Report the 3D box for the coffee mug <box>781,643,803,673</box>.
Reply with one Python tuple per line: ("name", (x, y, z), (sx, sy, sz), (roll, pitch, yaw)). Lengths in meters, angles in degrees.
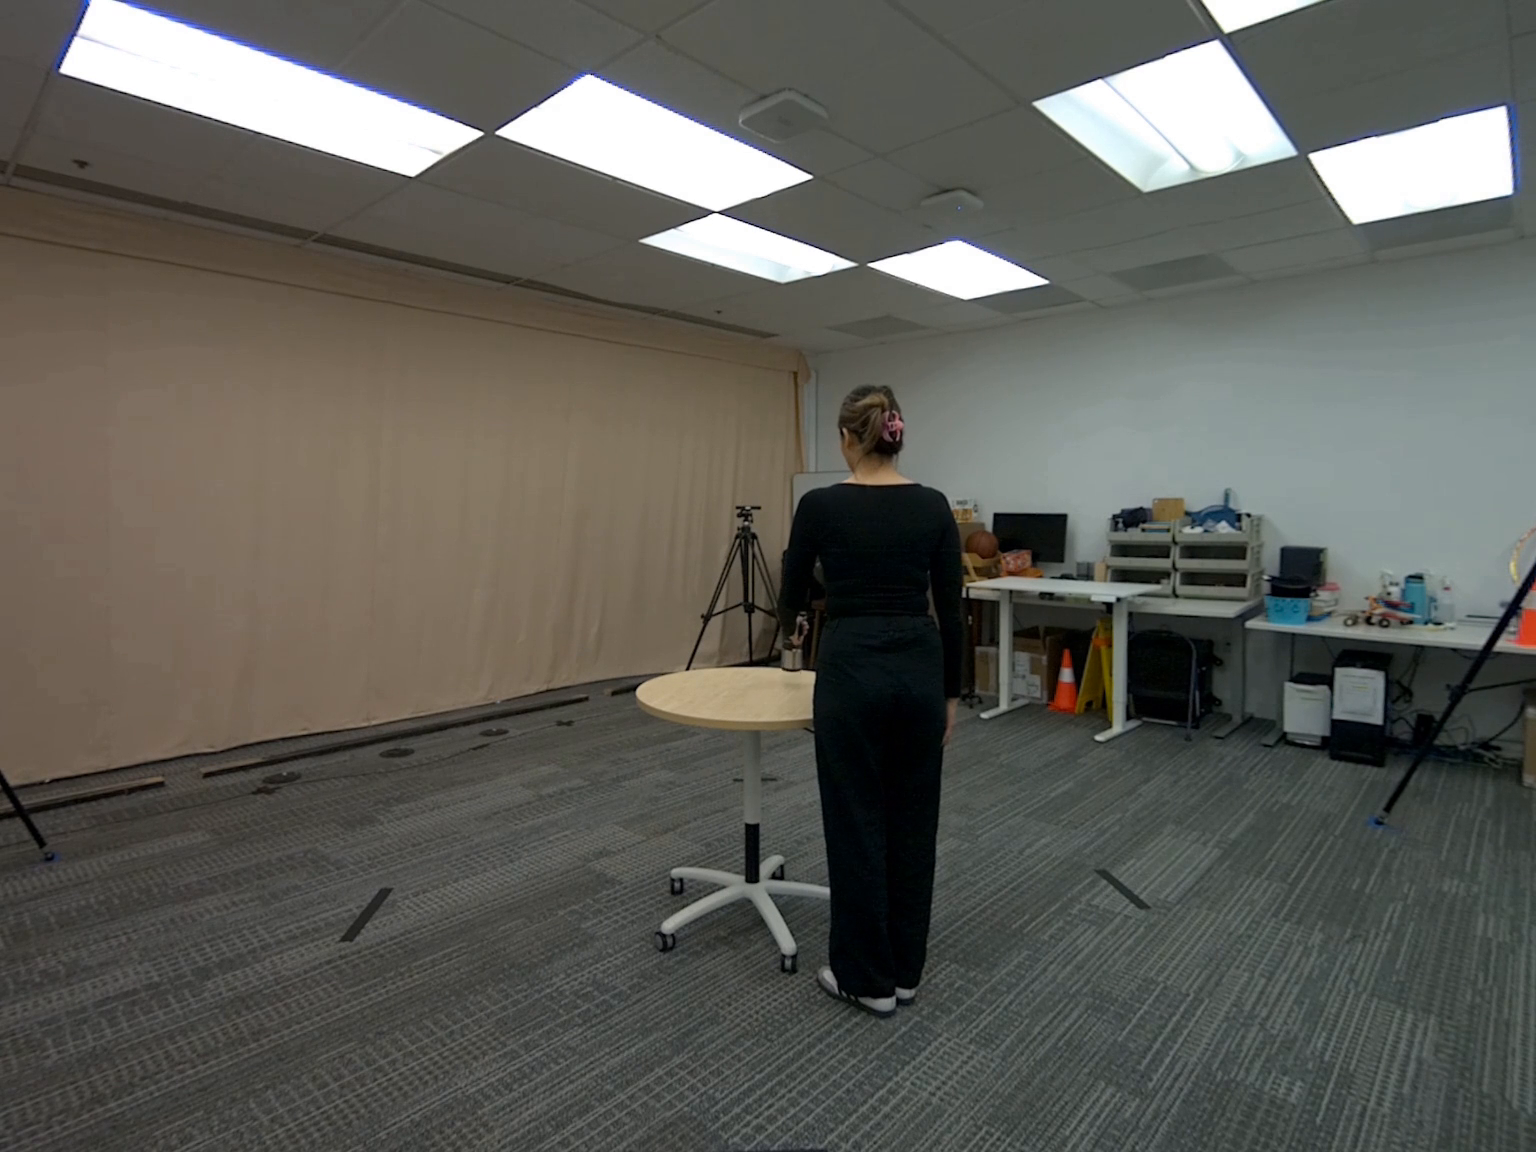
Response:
("coffee mug", (0.080, 0.221, 2.820), (0.090, 0.202, 0.119), (8, 7, 24))
